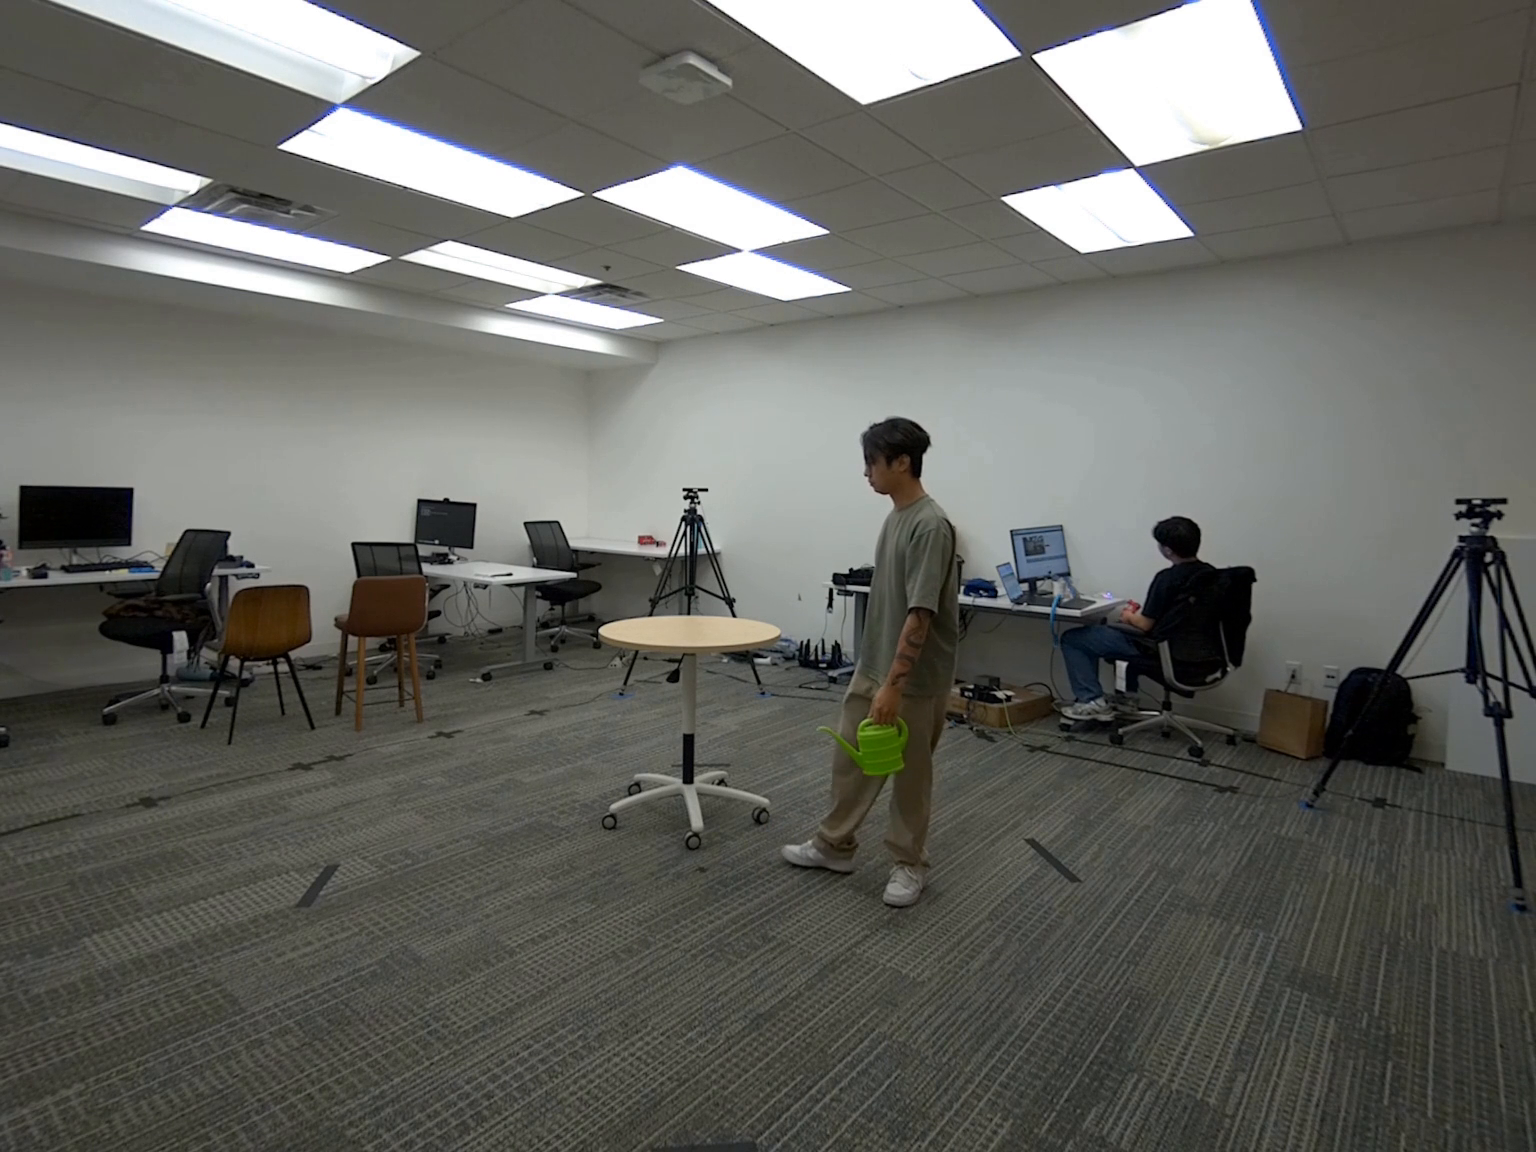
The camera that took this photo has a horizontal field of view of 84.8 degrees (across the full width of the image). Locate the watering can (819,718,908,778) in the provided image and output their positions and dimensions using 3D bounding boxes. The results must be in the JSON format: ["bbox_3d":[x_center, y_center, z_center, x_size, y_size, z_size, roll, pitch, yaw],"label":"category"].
[{"bbox_3d":[0.297,0.531,2.699,0.280,0.177,0.097,-7,1,7],"label":"watering can"}]
